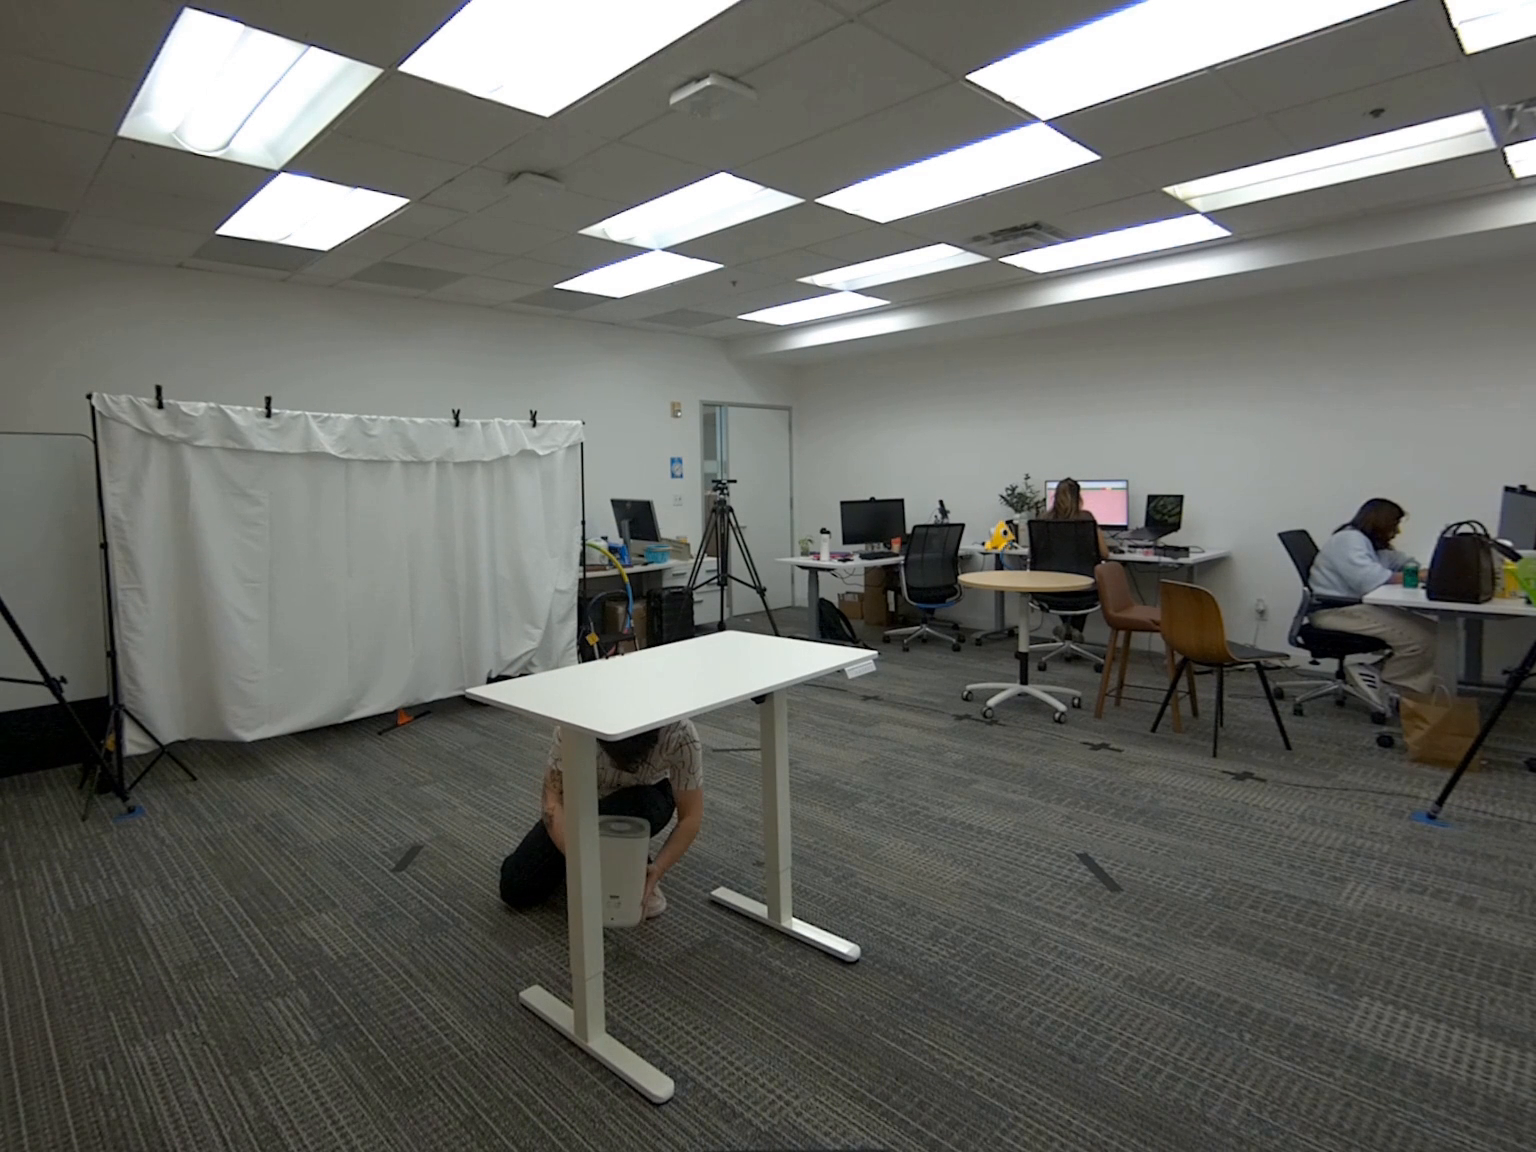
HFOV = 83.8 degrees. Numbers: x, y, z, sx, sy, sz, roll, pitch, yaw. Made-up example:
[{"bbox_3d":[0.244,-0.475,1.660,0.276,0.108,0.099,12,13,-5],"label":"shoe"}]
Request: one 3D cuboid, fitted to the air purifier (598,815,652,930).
[{"bbox_3d":[-0.444,0.854,2.465,0.170,0.265,0.173,4,1,-7],"label":"air purifier"}]
